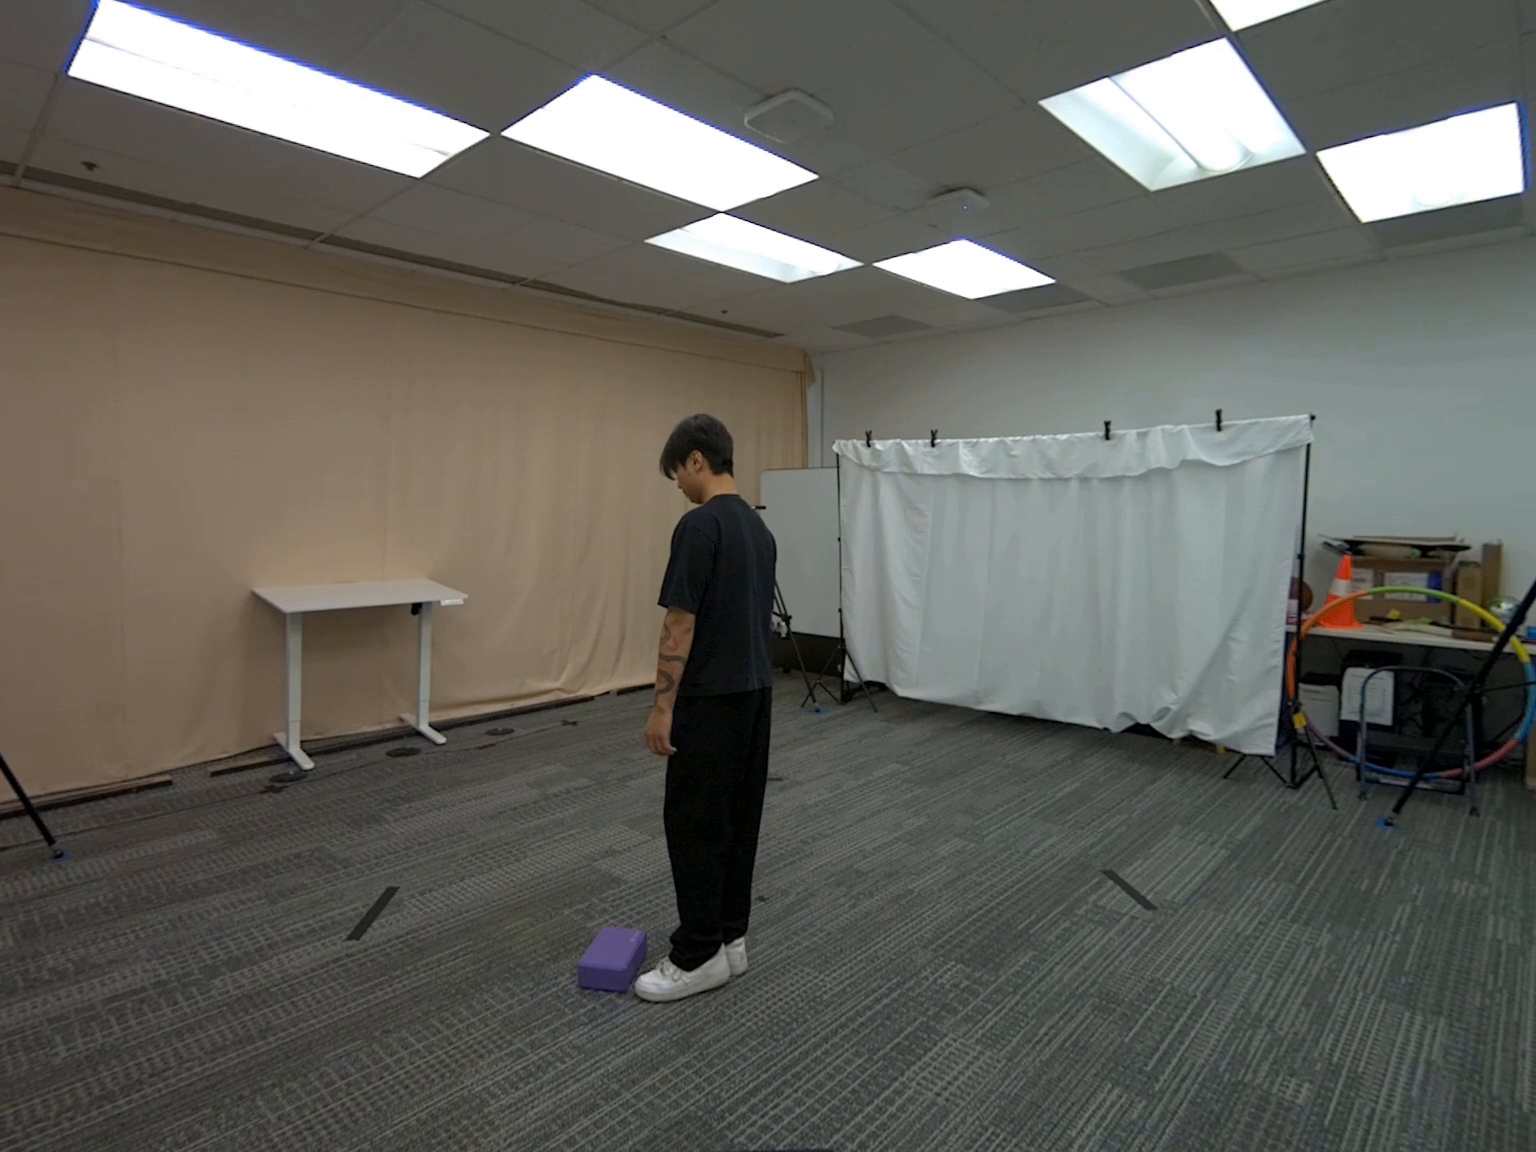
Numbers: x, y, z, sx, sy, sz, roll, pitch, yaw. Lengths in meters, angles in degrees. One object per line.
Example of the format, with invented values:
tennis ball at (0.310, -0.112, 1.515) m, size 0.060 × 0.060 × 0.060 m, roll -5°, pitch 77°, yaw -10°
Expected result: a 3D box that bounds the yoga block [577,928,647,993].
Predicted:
yoga block at (-0.465, 1.152, 2.520) m, size 0.151 × 0.076 × 0.227 m, roll 0°, pitch 3°, yaw 9°
